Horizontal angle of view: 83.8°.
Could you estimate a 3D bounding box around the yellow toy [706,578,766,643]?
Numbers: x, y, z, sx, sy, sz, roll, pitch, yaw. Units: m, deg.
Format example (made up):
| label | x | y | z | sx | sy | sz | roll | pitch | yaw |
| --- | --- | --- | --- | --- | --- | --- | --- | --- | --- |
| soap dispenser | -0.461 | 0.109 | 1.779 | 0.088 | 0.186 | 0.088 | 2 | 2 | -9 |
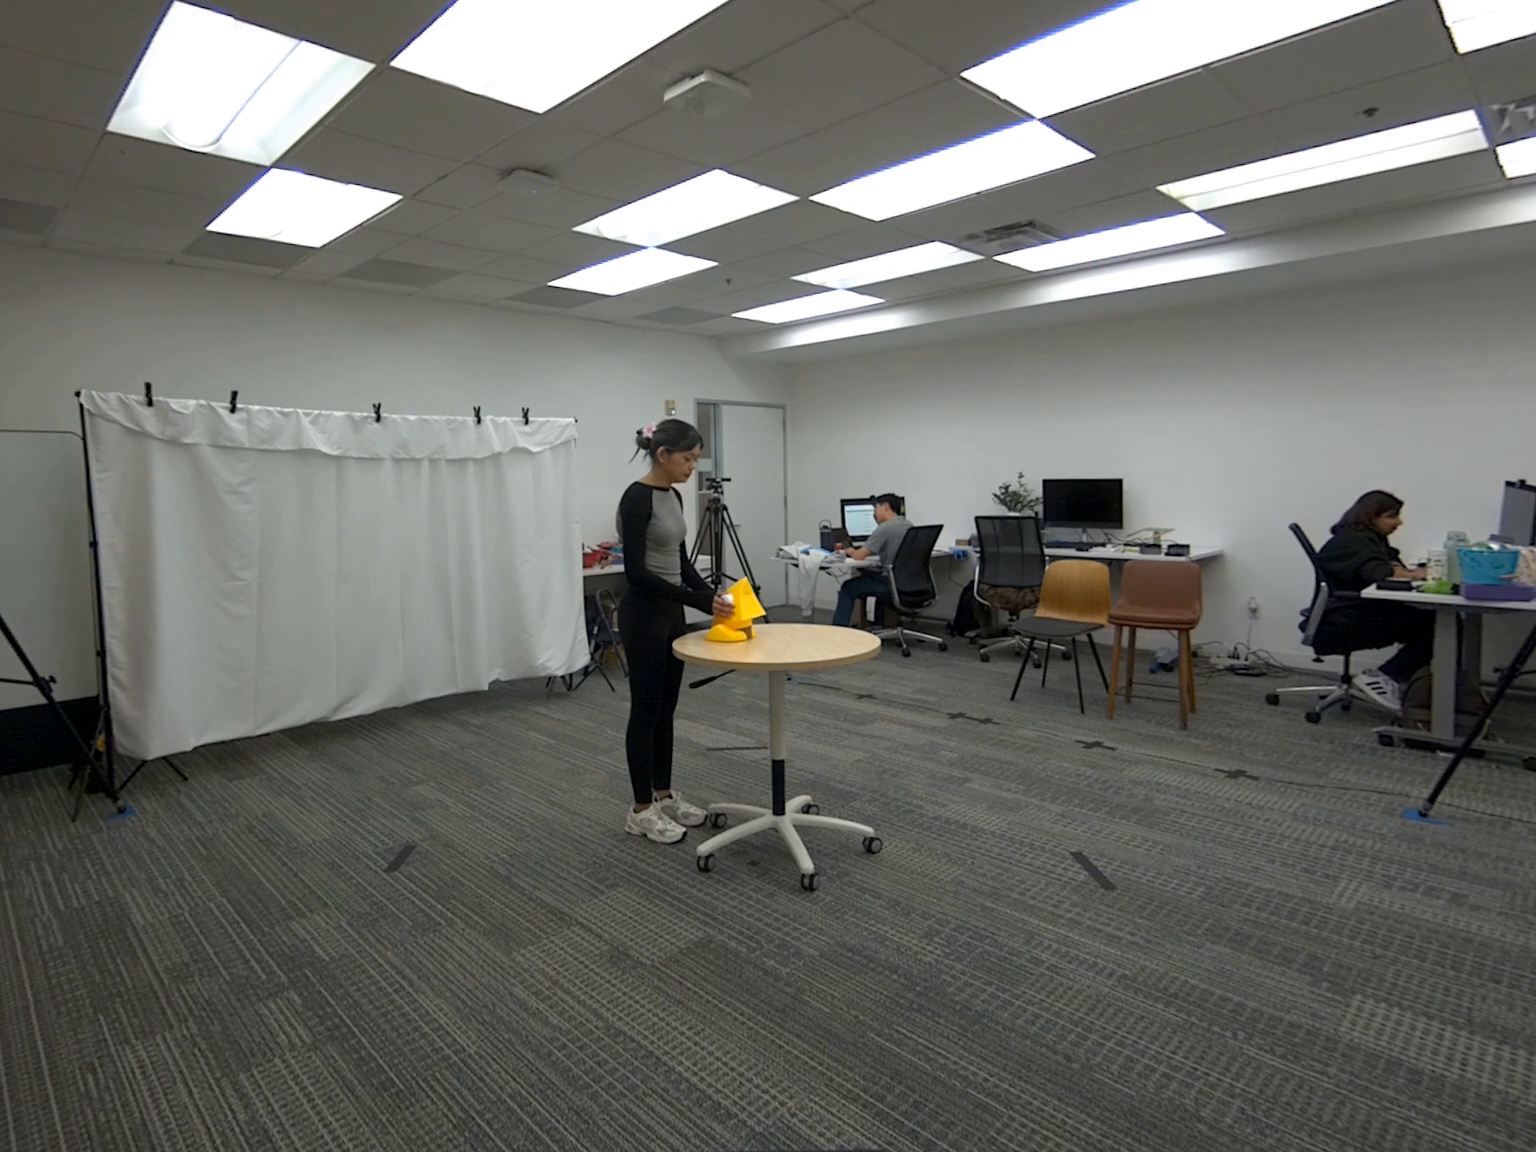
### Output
| label | x | y | z | sx | sy | sz | roll | pitch | yaw |
| --- | --- | --- | --- | --- | --- | --- | --- | --- | --- |
| yellow toy | -0.128 | 0.116 | 3.244 | 0.198 | 0.230 | 0.200 | -2 | 3 | 28 |
